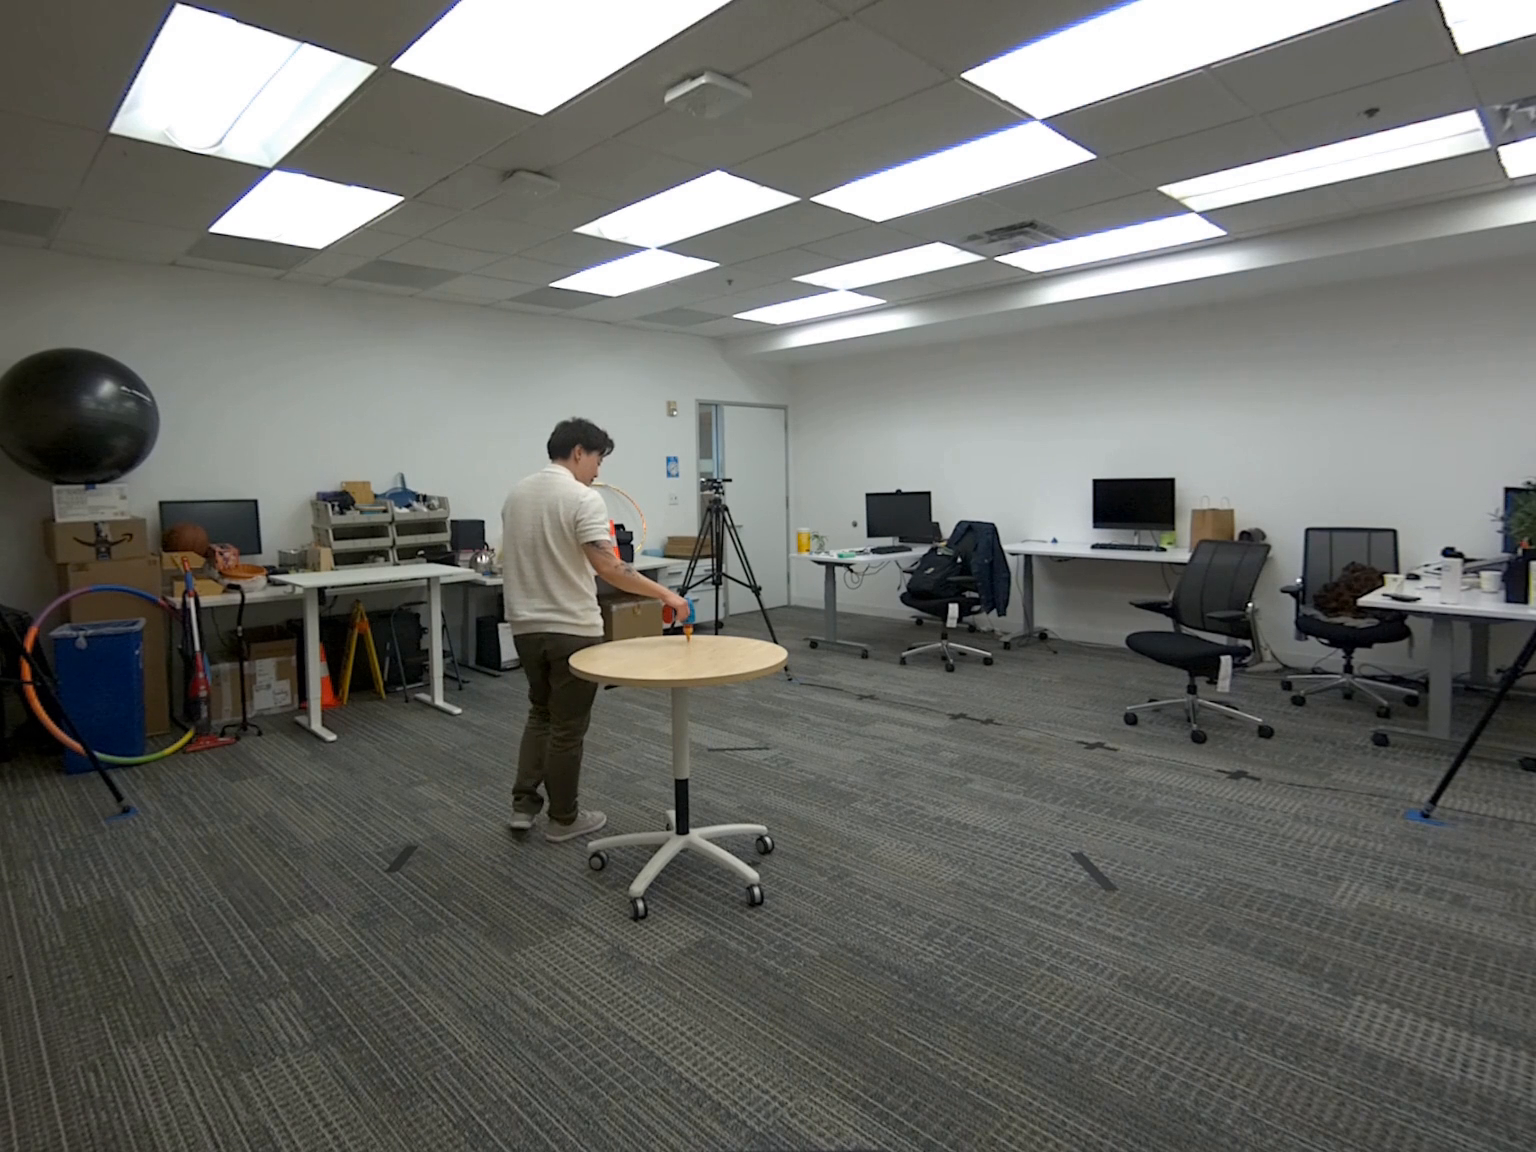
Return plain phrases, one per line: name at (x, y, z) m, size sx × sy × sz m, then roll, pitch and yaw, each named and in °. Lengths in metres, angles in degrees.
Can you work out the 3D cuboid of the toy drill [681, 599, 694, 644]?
toy drill at (-0.331, 0.165, 3.221) m, size 0.063 × 0.169 × 0.142 m, roll 6°, pitch 7°, yaw 43°
